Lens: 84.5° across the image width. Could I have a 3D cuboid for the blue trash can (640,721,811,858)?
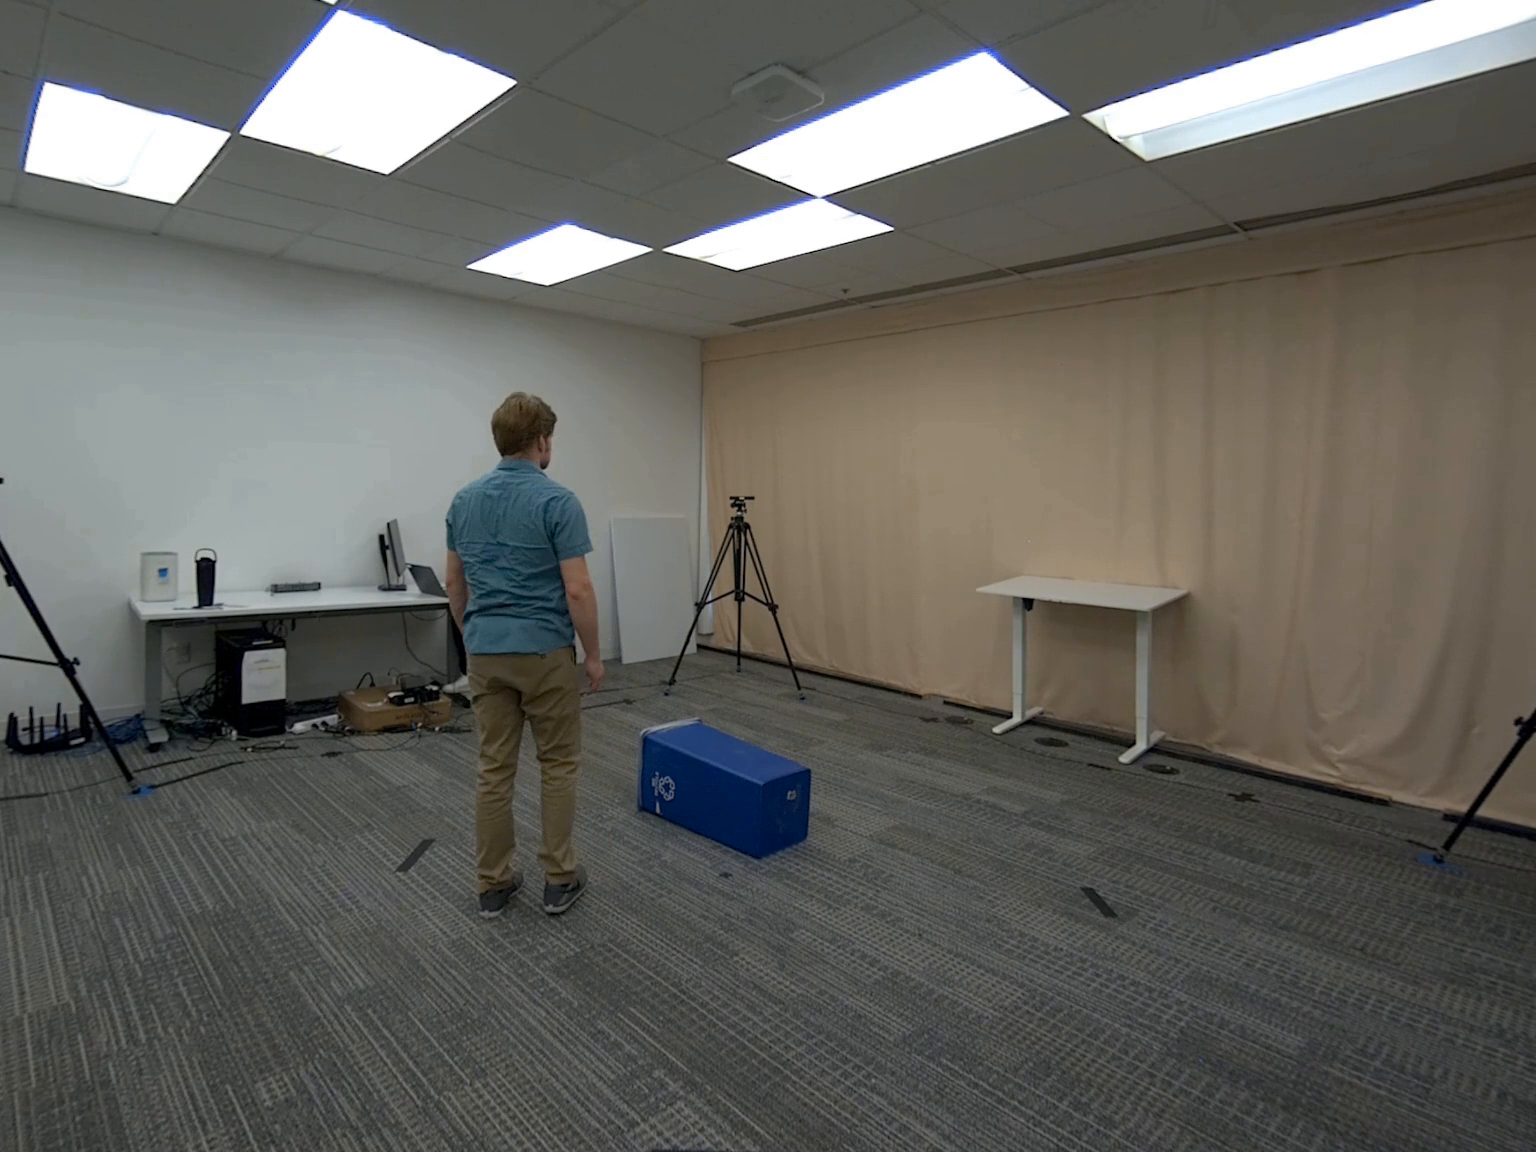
[{"bbox_3d":[-0.195,0.898,3.586,0.733,0.376,0.365,10,8,43],"label":"blue trash can"}]
